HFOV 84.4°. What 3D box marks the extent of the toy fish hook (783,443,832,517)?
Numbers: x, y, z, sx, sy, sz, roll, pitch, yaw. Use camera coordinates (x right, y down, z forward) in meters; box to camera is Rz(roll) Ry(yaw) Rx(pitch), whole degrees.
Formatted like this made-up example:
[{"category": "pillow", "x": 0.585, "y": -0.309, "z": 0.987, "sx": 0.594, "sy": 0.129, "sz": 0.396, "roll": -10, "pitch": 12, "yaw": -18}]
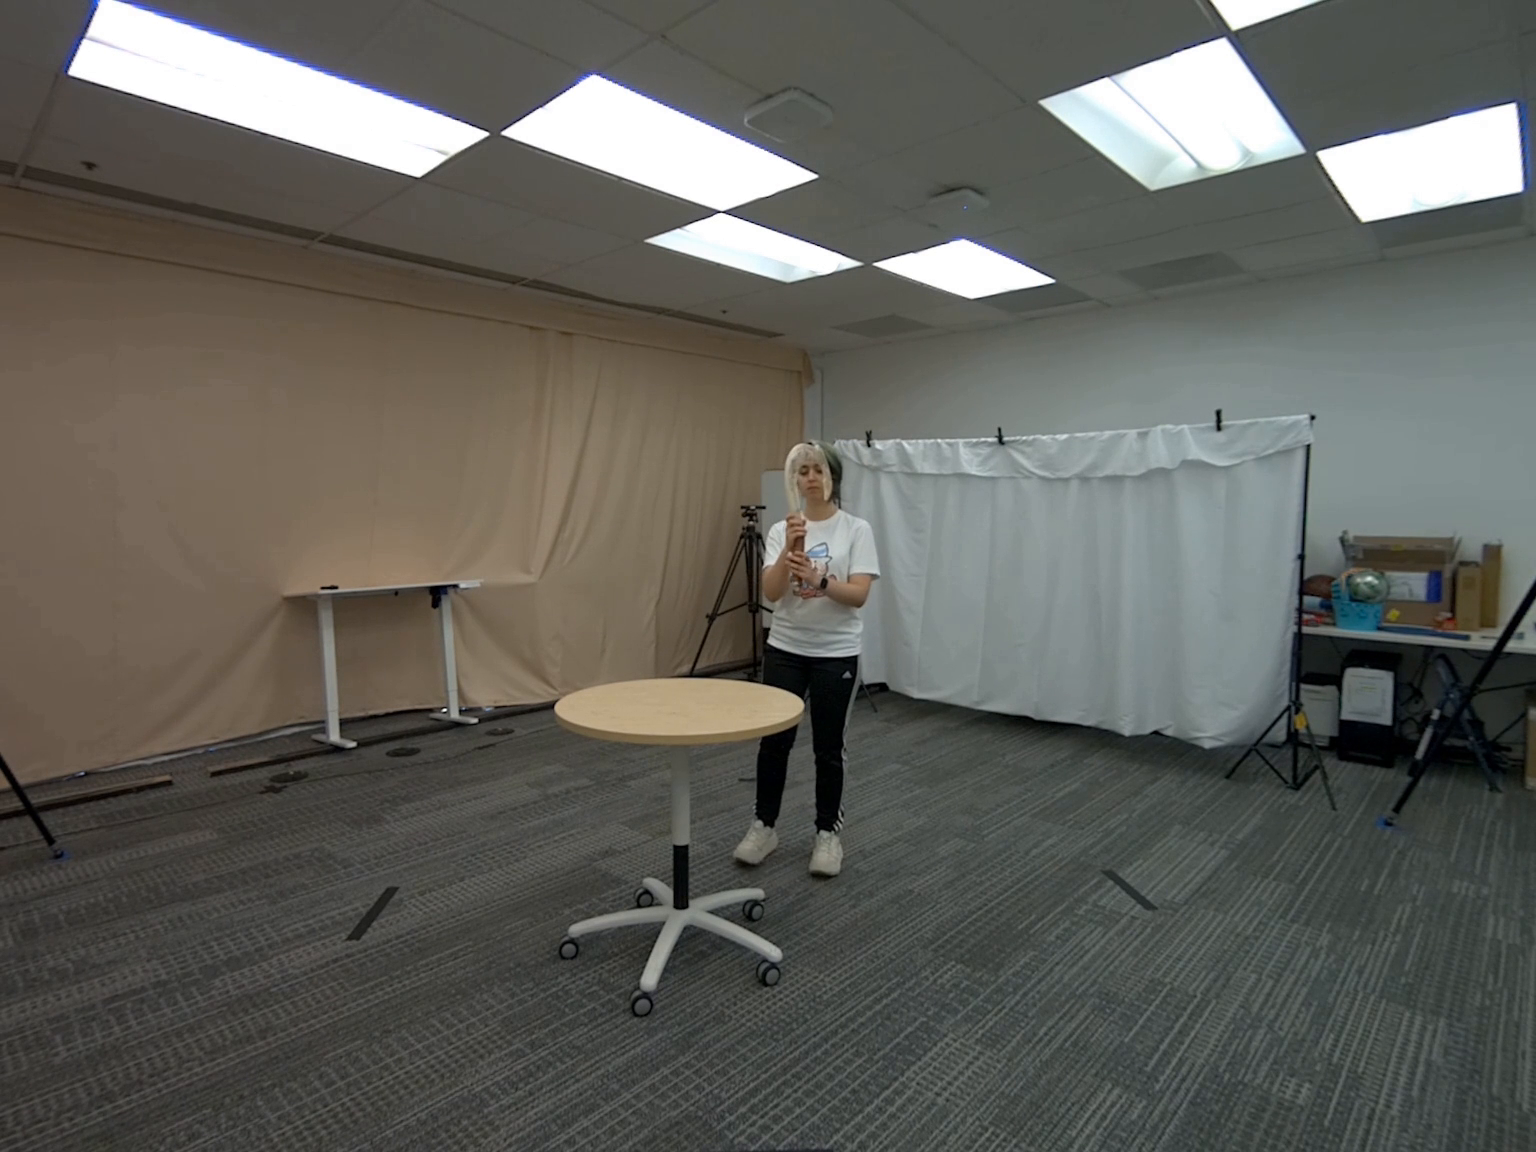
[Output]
[{"category": "toy fish hook", "x": 0.142, "y": -0.218, "z": 3.011, "sx": 0.218, "sy": 0.506, "sz": 0.050, "roll": -2, "pitch": 2, "yaw": -34}]
